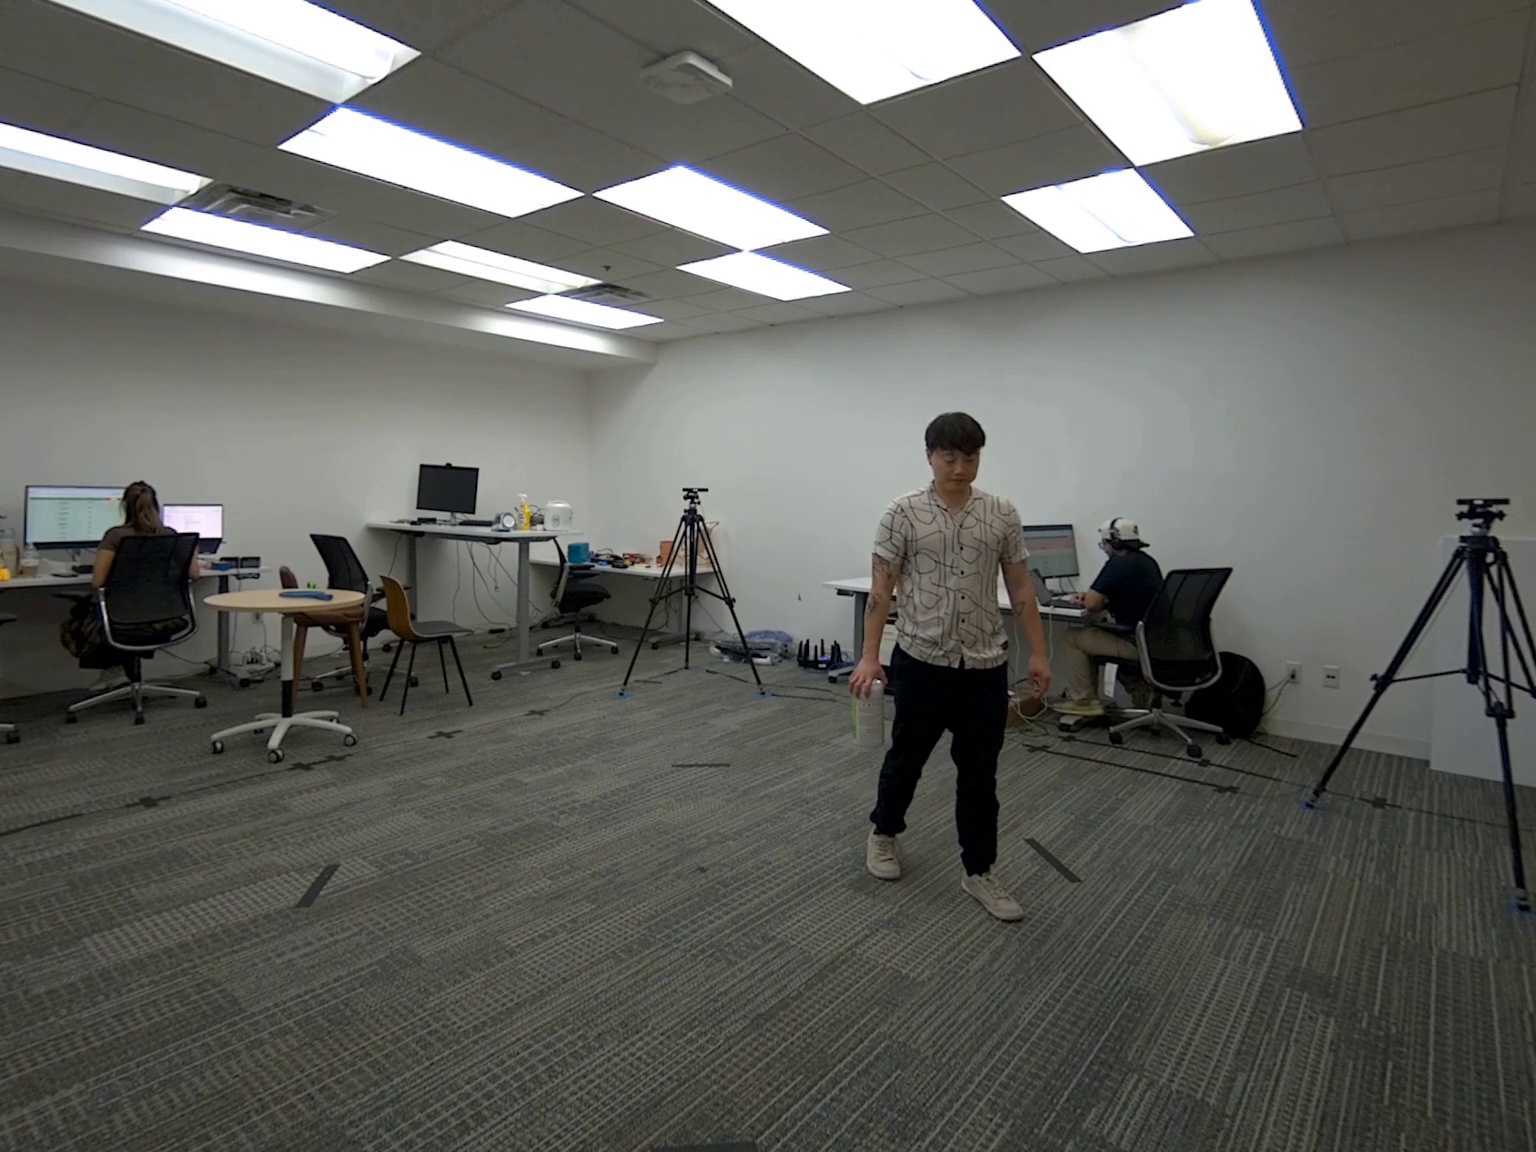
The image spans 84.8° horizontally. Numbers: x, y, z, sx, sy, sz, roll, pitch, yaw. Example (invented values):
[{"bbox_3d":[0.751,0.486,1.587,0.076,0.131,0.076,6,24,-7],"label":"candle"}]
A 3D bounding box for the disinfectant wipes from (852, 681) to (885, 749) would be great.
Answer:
[{"bbox_3d":[0.346,0.472,2.924,0.118,0.216,0.119,-2,8,-2],"label":"disinfectant wipes"}]
